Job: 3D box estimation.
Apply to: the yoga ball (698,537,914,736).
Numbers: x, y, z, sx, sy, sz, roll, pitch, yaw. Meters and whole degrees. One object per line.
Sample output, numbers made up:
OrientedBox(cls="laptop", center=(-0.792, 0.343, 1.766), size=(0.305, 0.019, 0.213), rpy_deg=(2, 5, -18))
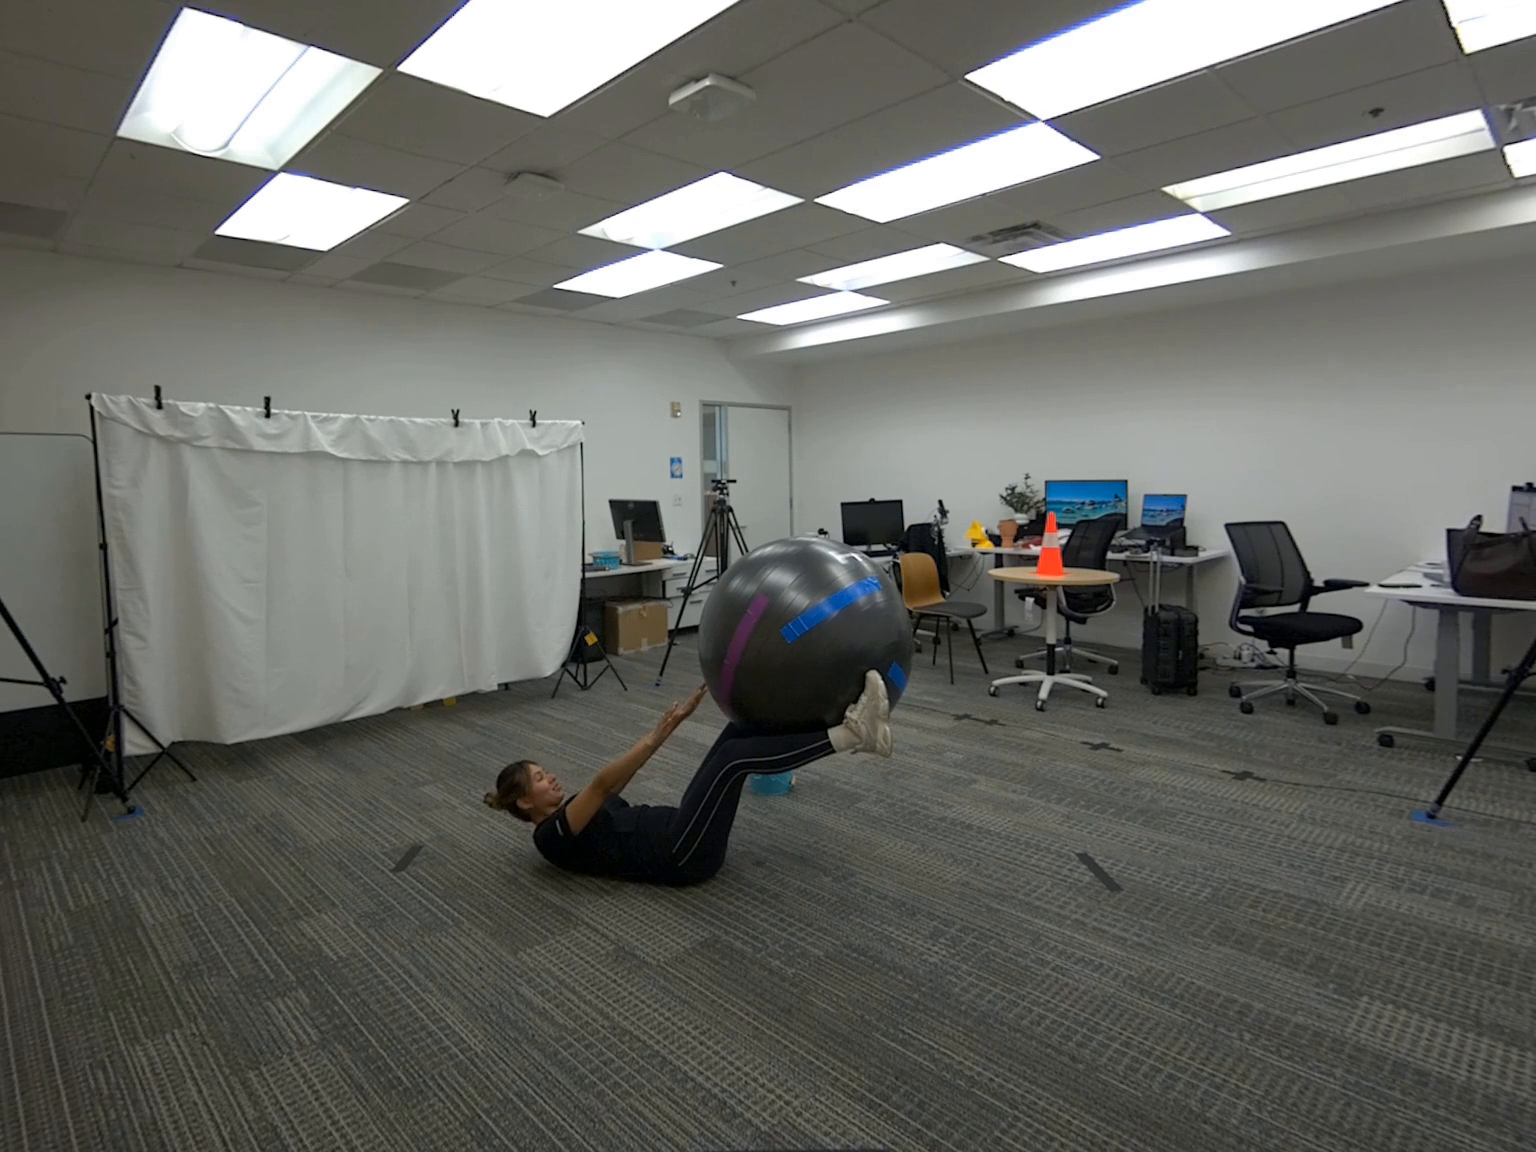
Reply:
OrientedBox(cls="yoga ball", center=(0.126, 0.242, 3.022), size=(0.757, 0.755, 0.762), rpy_deg=(-1, 5, -2))
